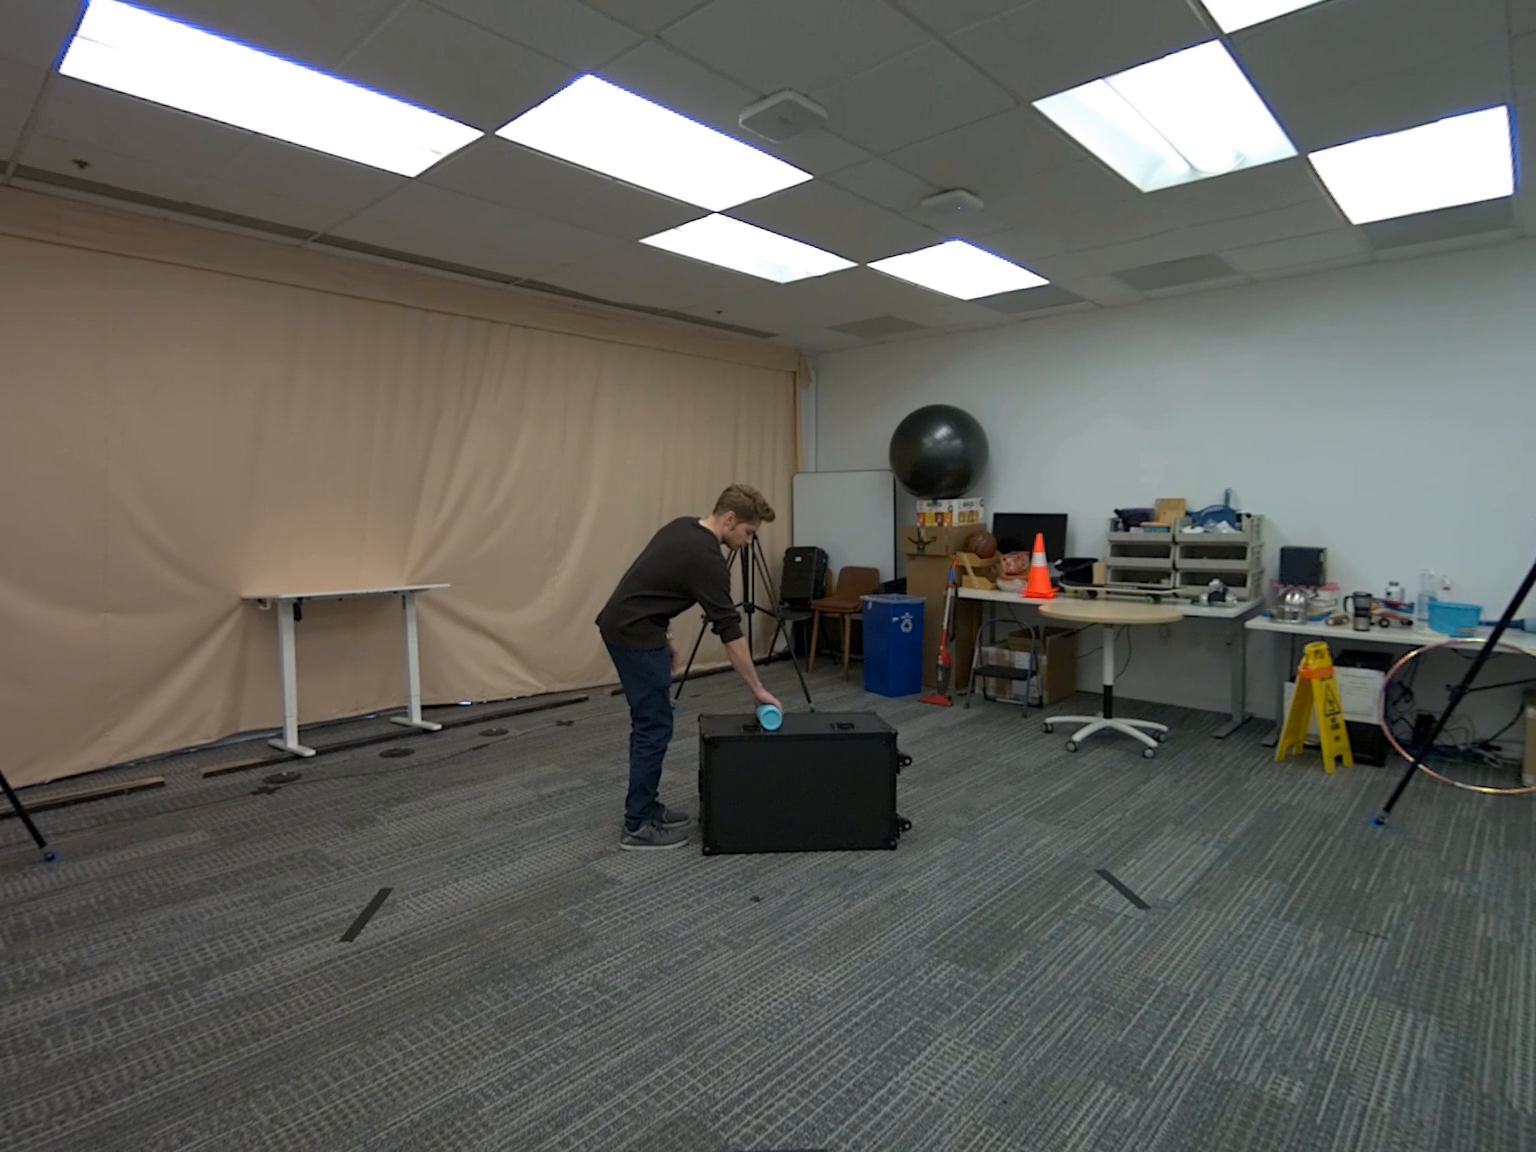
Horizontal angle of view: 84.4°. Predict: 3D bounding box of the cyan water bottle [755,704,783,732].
[{"bbox_3d":[-0.008,0.573,3.545,0.092,0.092,0.286,-1,5,-8],"label":"cyan water bottle"}]
